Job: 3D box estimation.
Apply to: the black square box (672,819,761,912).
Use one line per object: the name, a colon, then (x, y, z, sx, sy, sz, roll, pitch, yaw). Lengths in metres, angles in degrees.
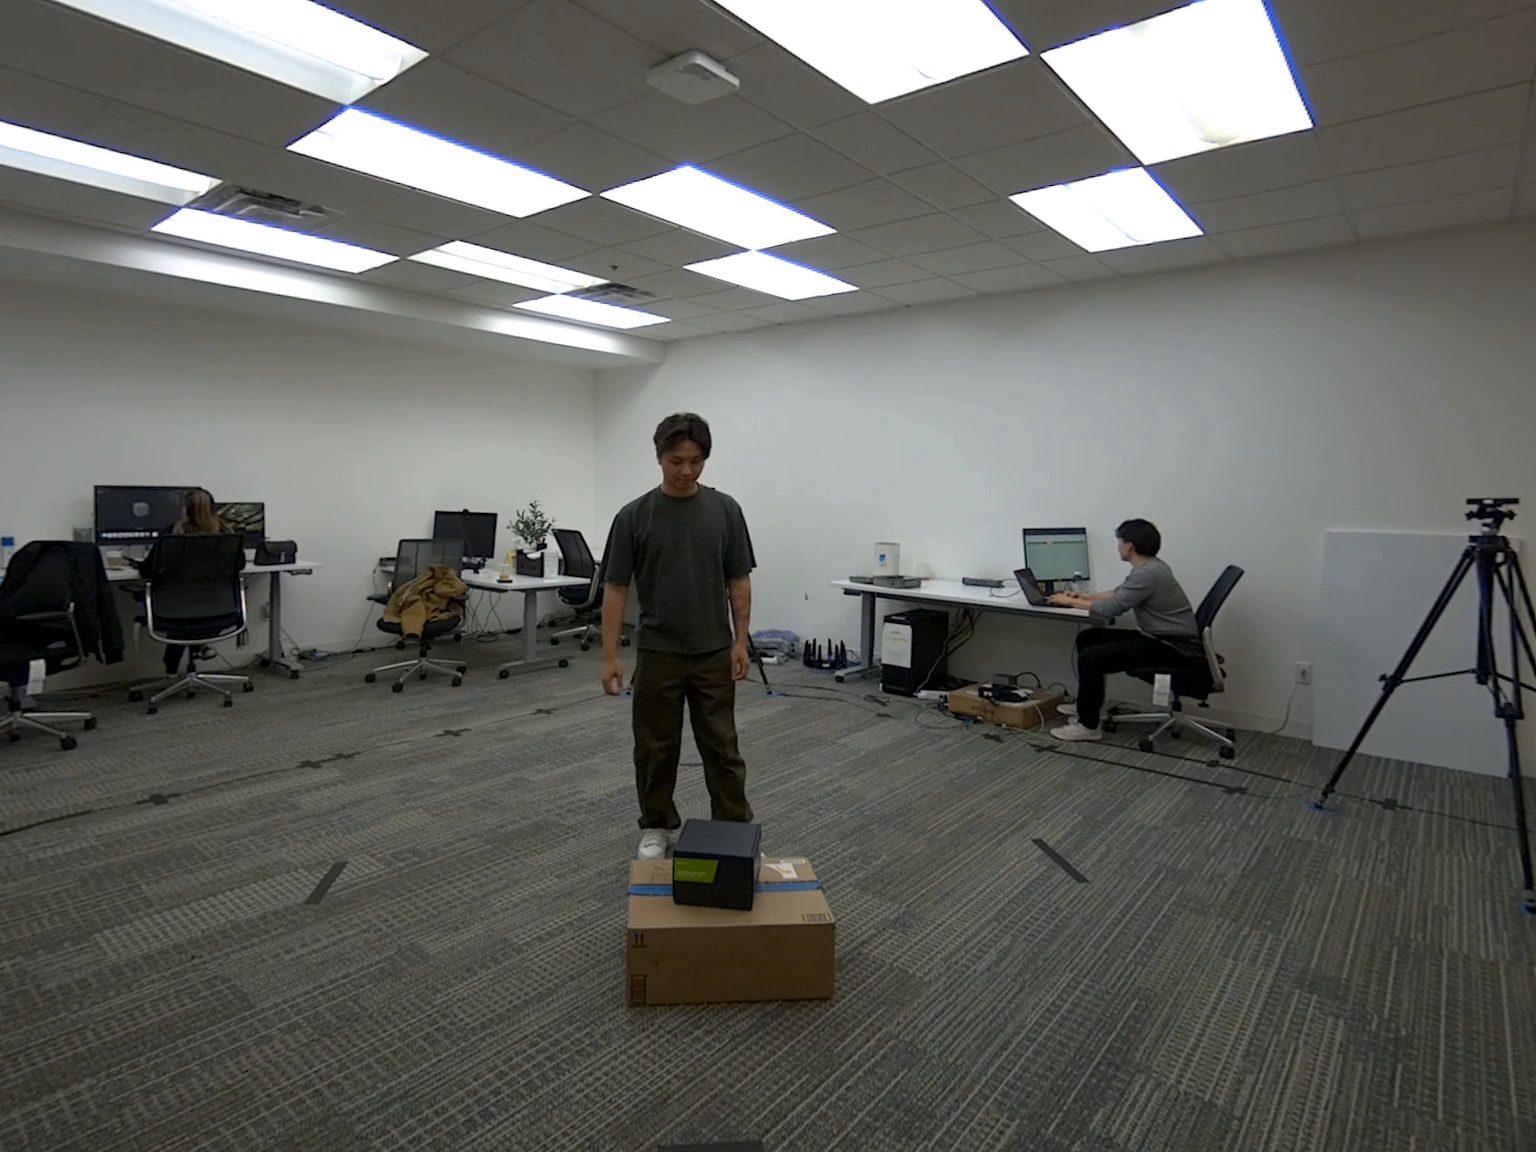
black square box: (-0.150, 0.829, 2.478, 0.230, 0.155, 0.217, 1, 7, 6)
